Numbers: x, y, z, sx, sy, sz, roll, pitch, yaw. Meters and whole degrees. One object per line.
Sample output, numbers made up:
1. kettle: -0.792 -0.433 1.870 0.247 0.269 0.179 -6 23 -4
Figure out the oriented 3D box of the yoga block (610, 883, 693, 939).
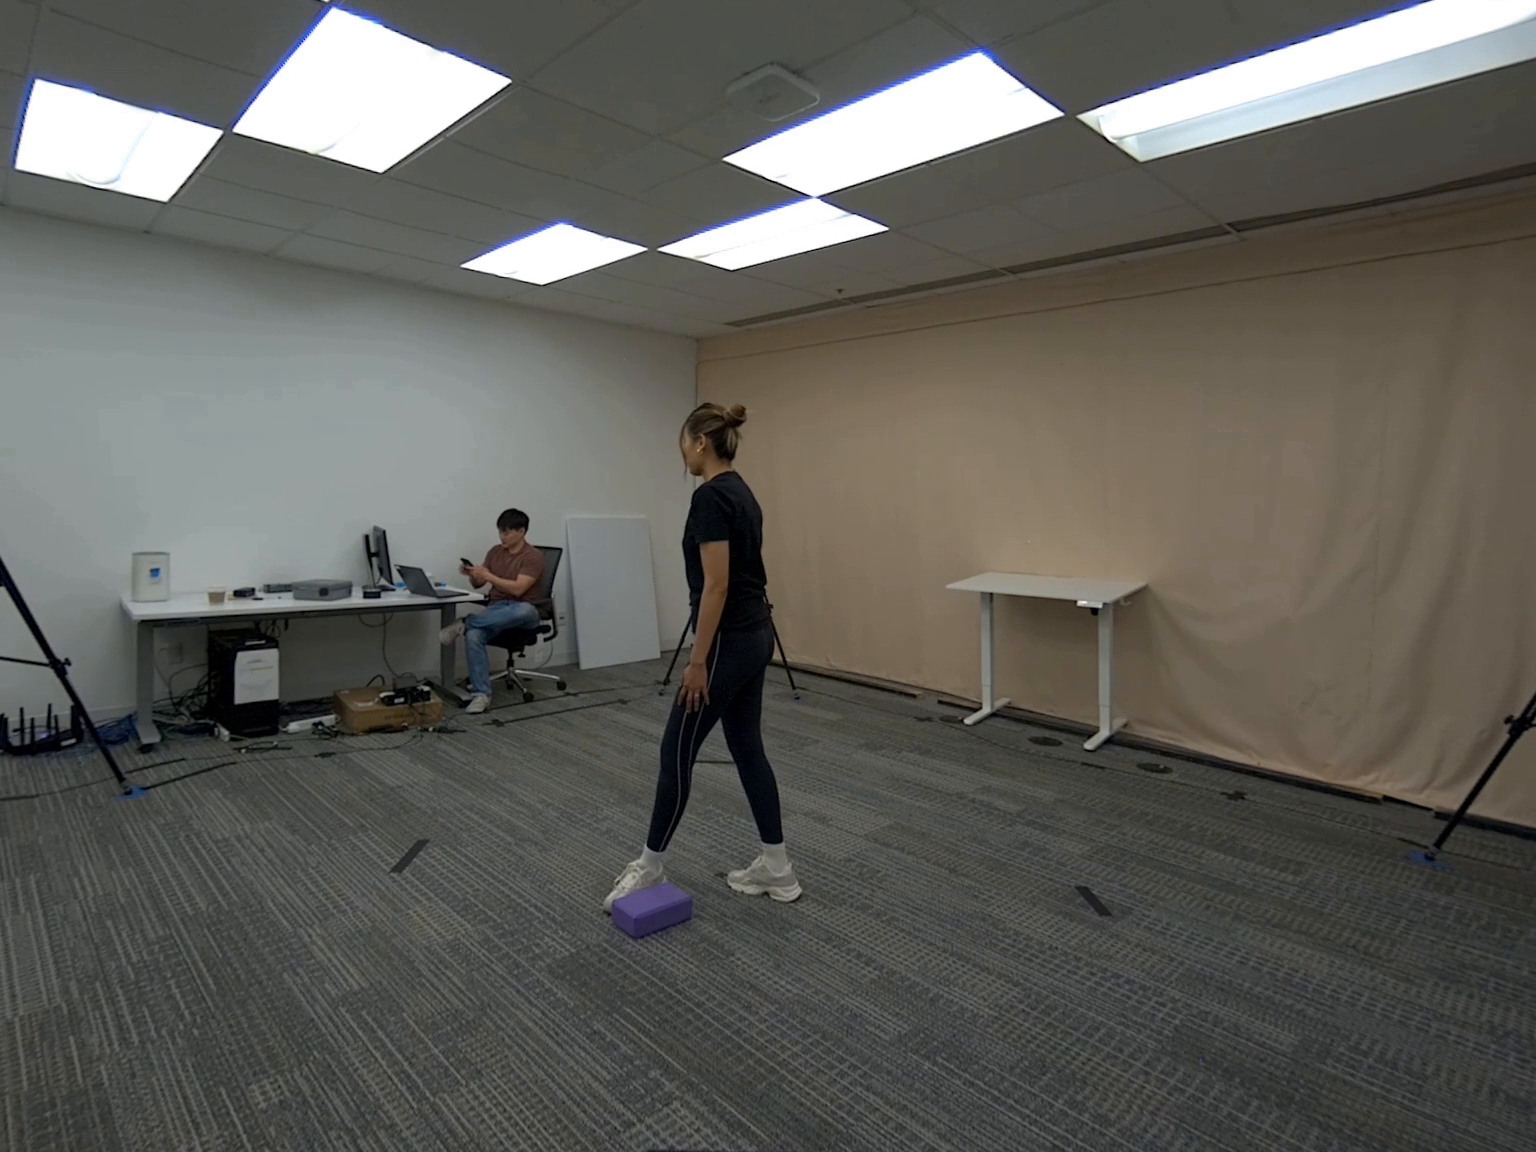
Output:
1. yoga block: -0.385 1.091 2.750 0.224 0.076 0.153 -3 7 -42
